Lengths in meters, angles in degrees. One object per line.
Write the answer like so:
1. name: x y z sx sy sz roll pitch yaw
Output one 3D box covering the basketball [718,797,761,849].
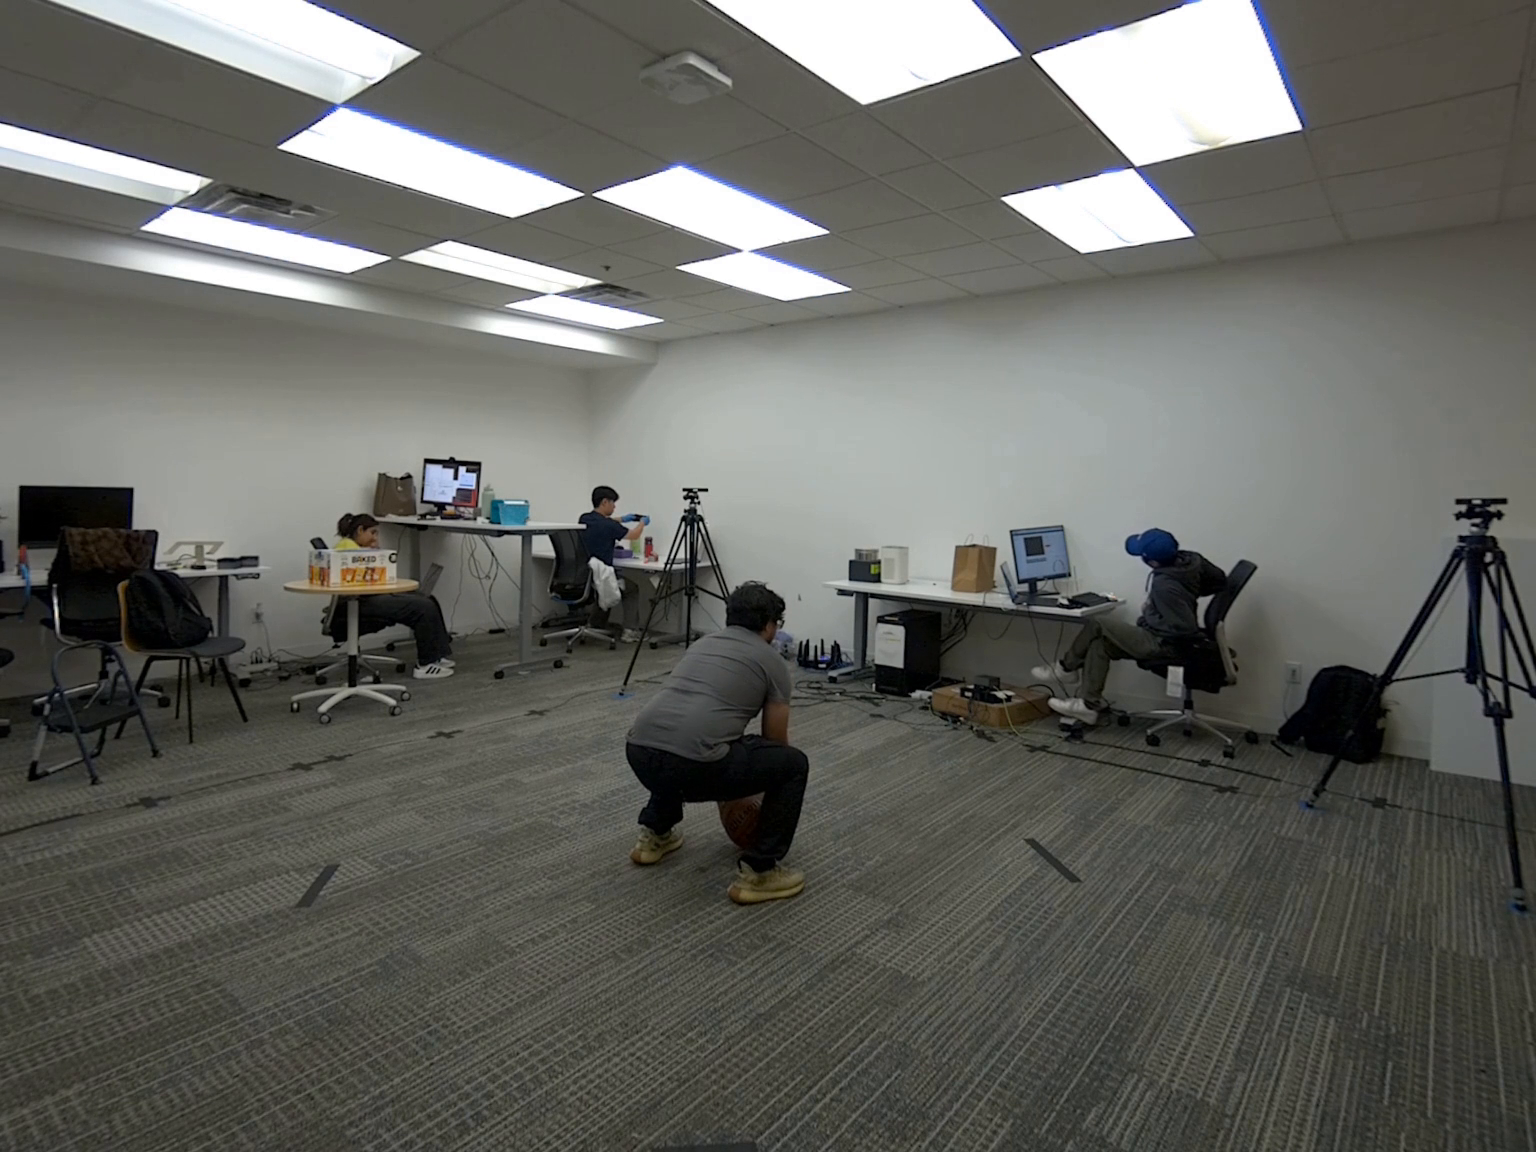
1. basketball: -0.058 0.932 3.296 0.235 0.235 0.237 1 4 -2
